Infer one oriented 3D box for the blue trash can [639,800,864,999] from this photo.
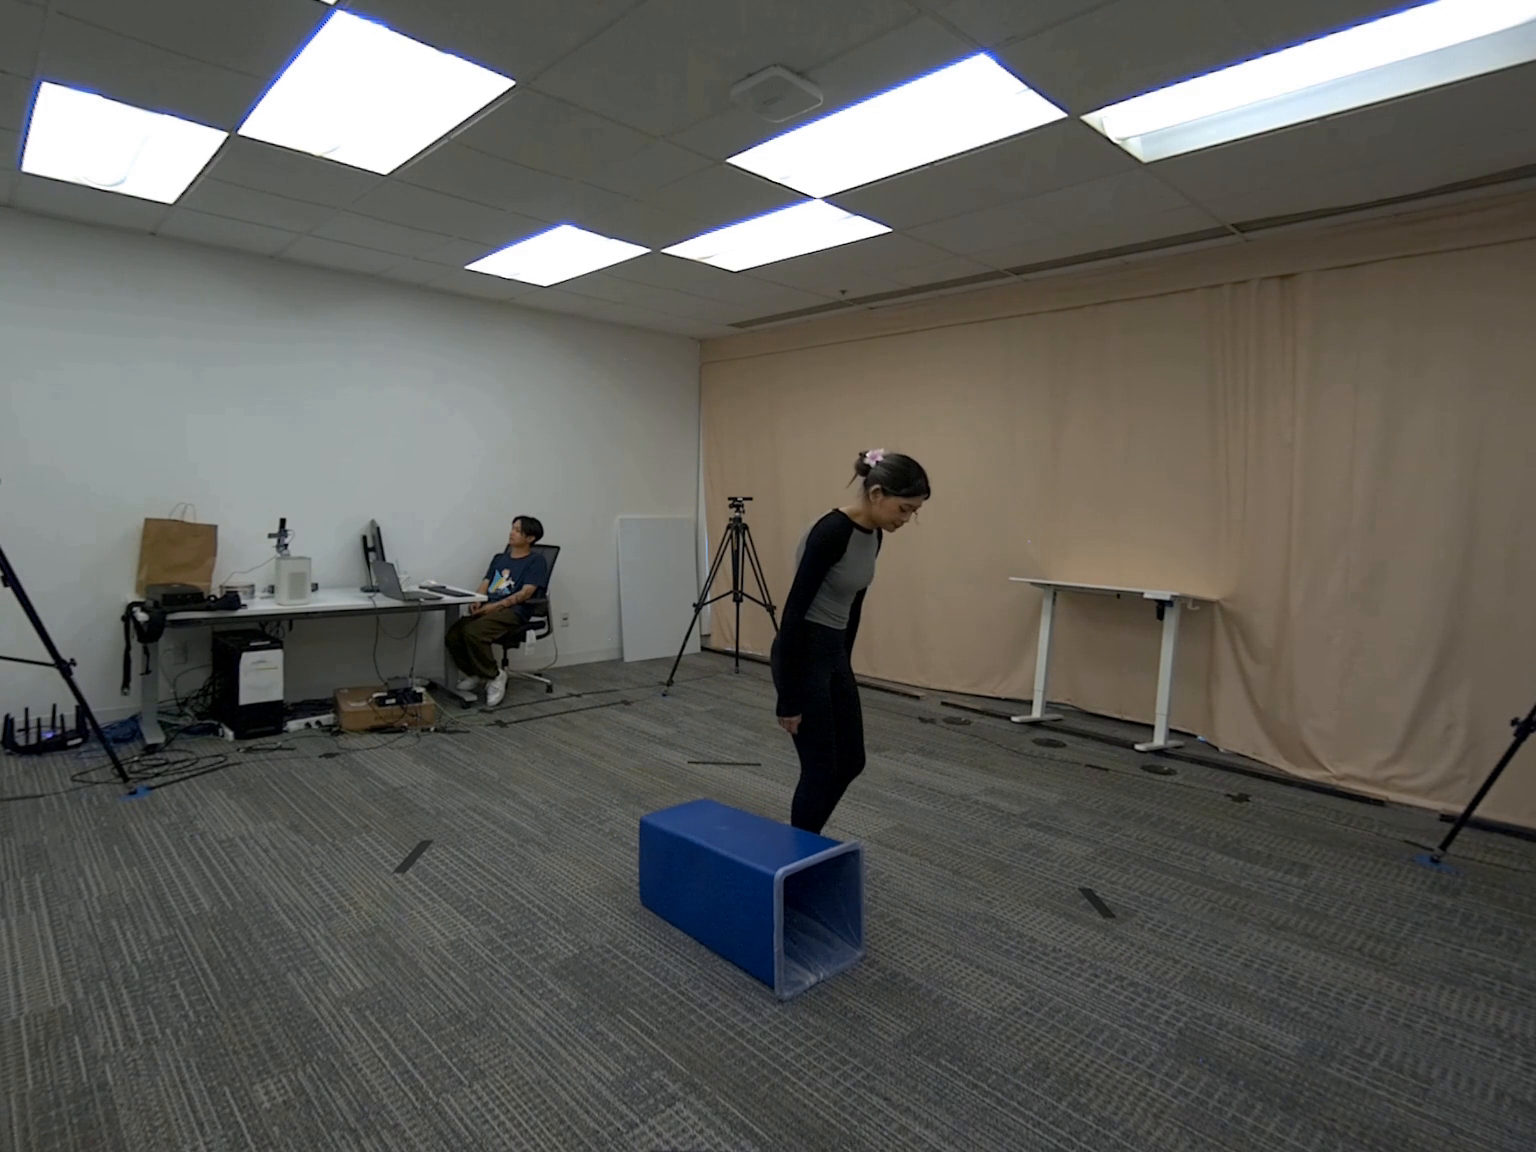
[{"bbox_3d":[-0.094,0.972,2.695,0.369,0.373,0.731,-3,5,-43],"label":"blue trash can"}]
